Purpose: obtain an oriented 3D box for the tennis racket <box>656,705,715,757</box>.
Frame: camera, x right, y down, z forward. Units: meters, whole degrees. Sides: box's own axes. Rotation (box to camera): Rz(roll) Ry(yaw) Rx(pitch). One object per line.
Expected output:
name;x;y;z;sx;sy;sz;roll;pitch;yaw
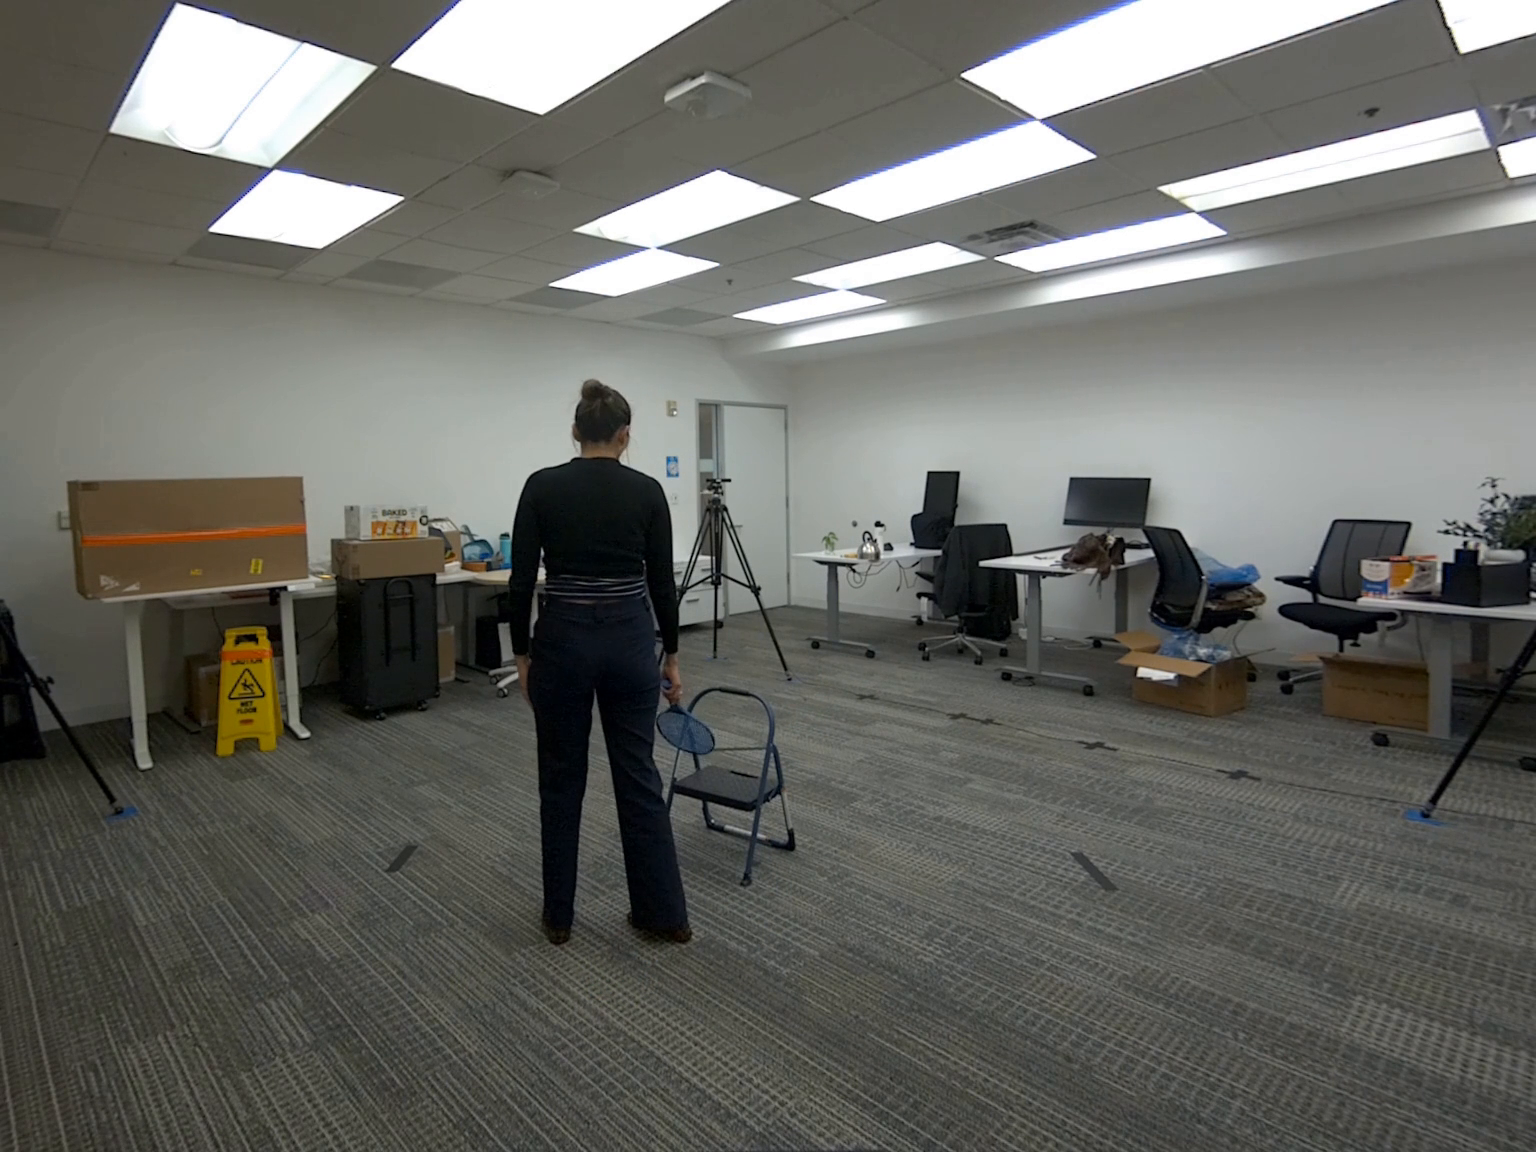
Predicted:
tennis racket;-0.291;0.491;2.888;0.218;0.420;0.032;8;43;18
